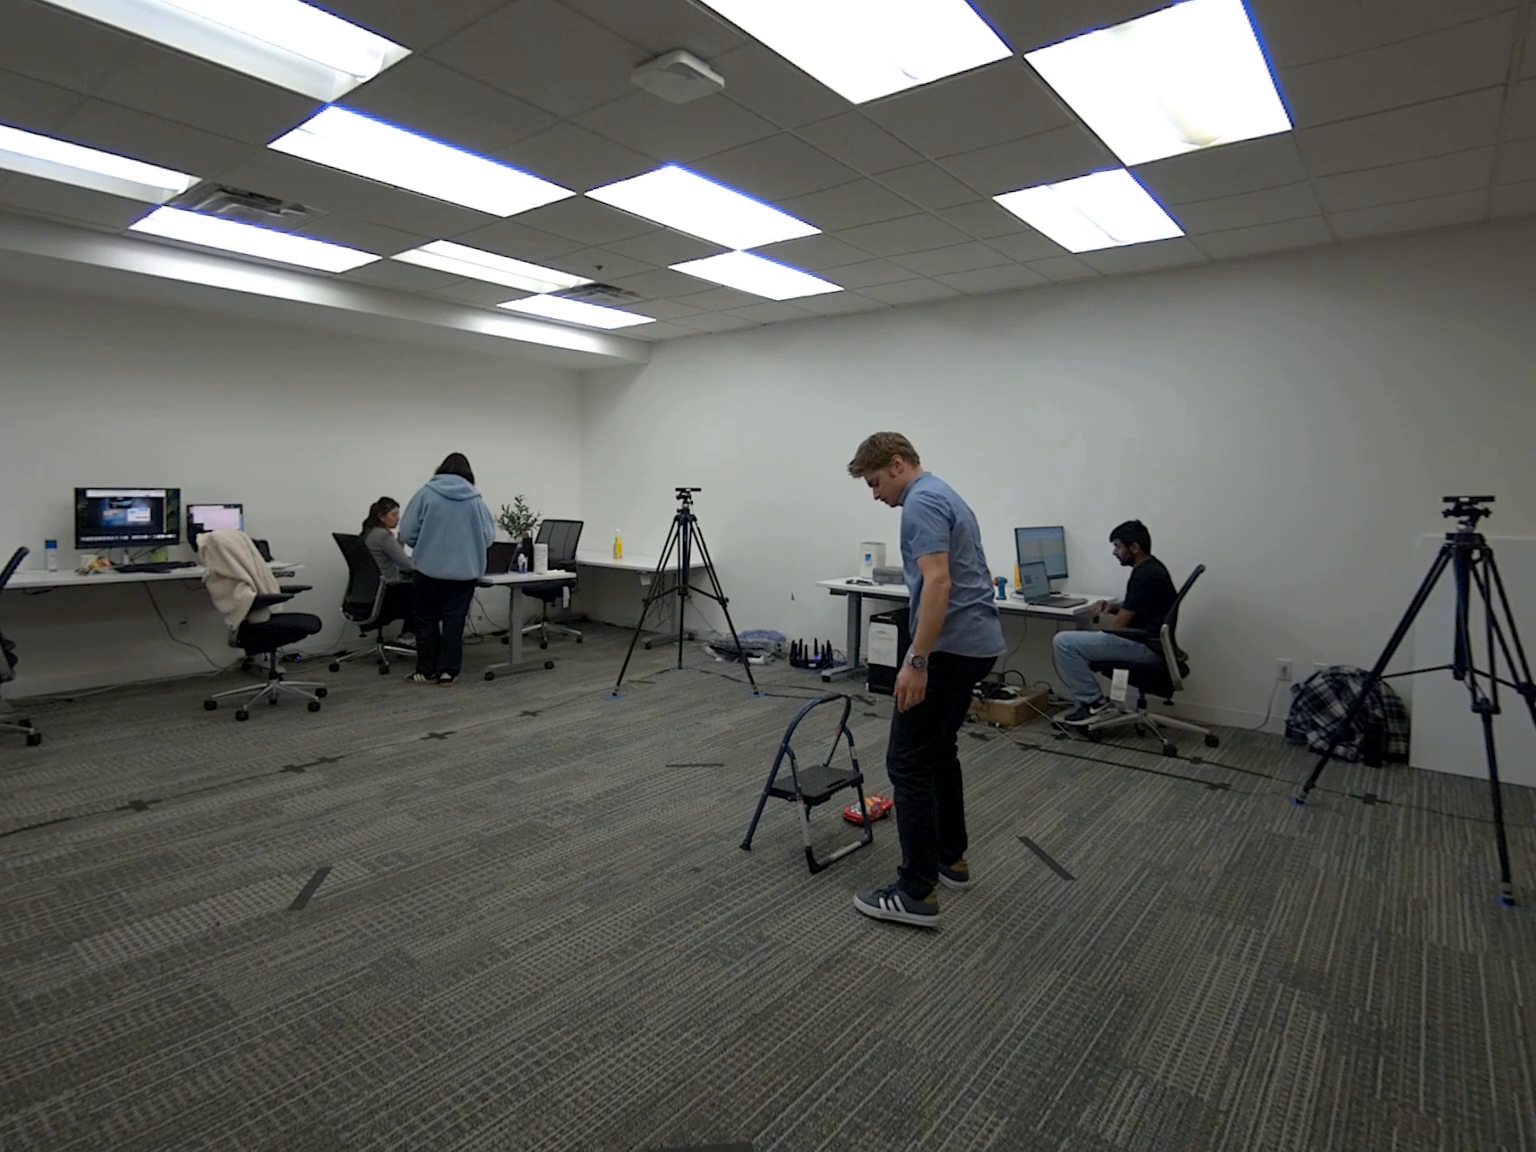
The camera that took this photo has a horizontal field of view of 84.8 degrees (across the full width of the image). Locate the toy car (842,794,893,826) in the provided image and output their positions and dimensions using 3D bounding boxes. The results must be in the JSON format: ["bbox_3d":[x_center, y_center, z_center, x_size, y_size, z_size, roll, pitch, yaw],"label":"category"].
[{"bbox_3d":[0.430,0.999,3.639,0.249,0.082,0.135,-19,18,-41],"label":"toy car"}]
